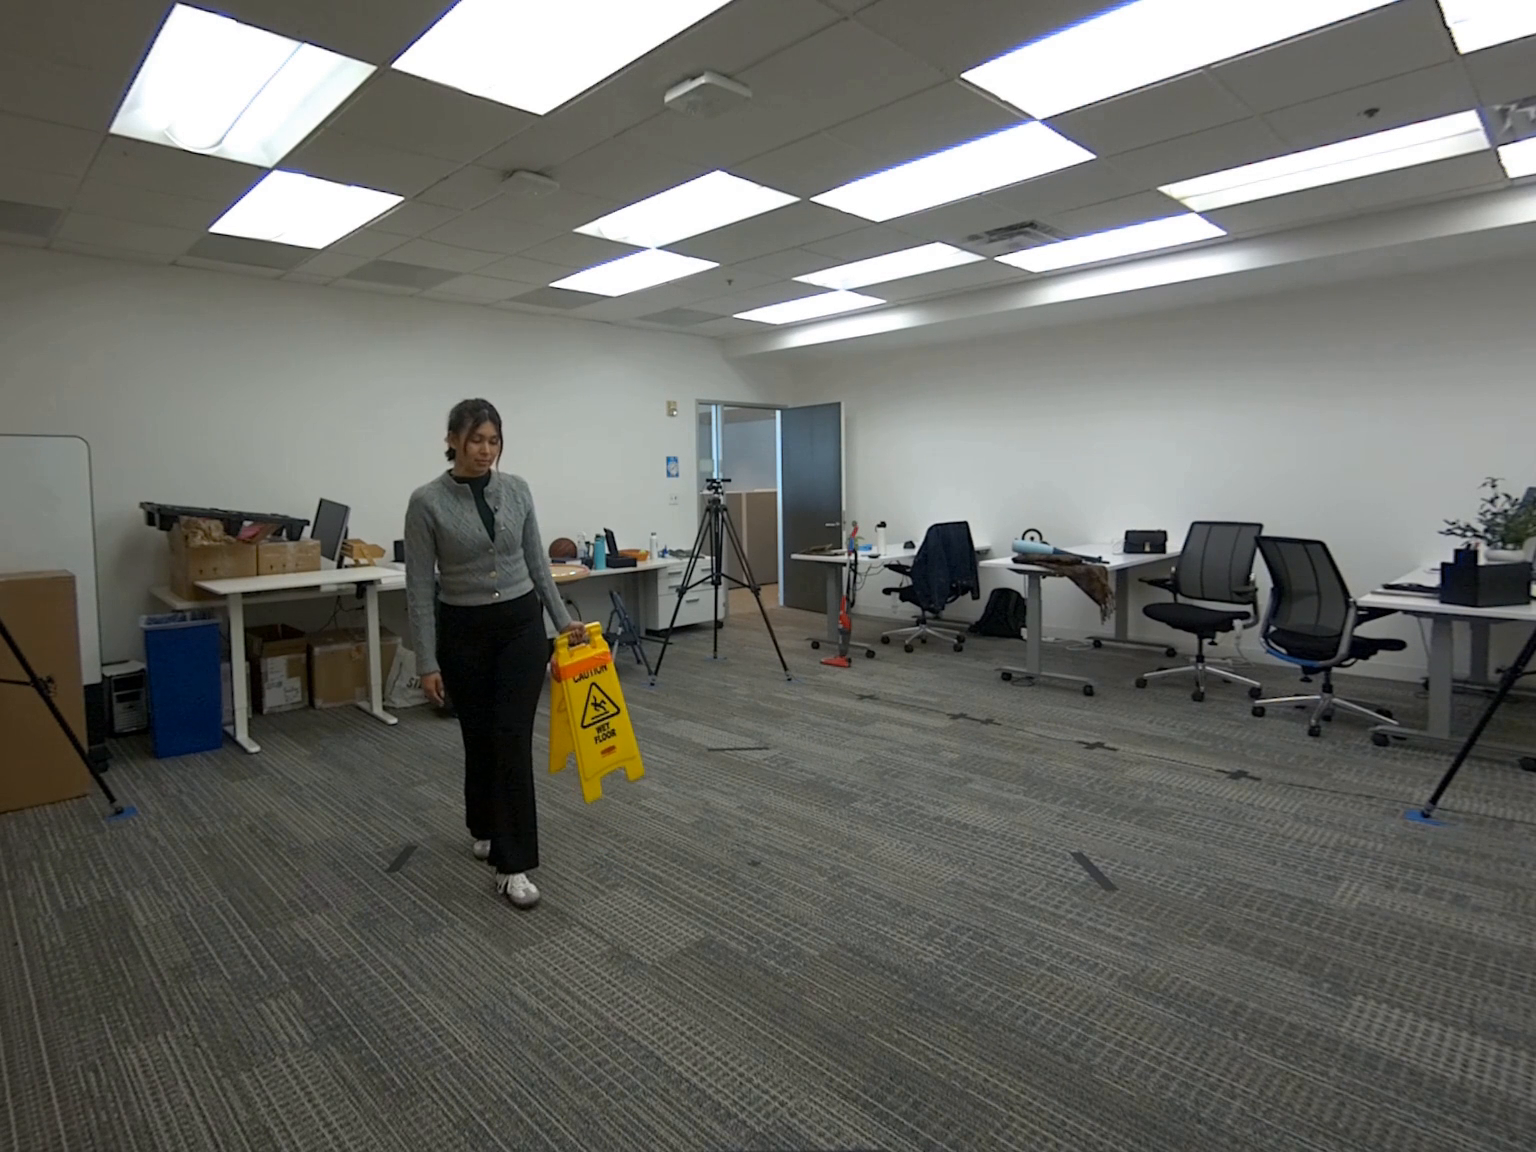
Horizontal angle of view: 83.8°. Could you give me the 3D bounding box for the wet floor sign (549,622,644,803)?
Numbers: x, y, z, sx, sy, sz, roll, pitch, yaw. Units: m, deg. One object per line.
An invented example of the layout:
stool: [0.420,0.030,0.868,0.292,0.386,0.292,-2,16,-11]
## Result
wet floor sign: [-0.709,0.504,3.375,0.277,0.635,0.300,-19,24,-38]
